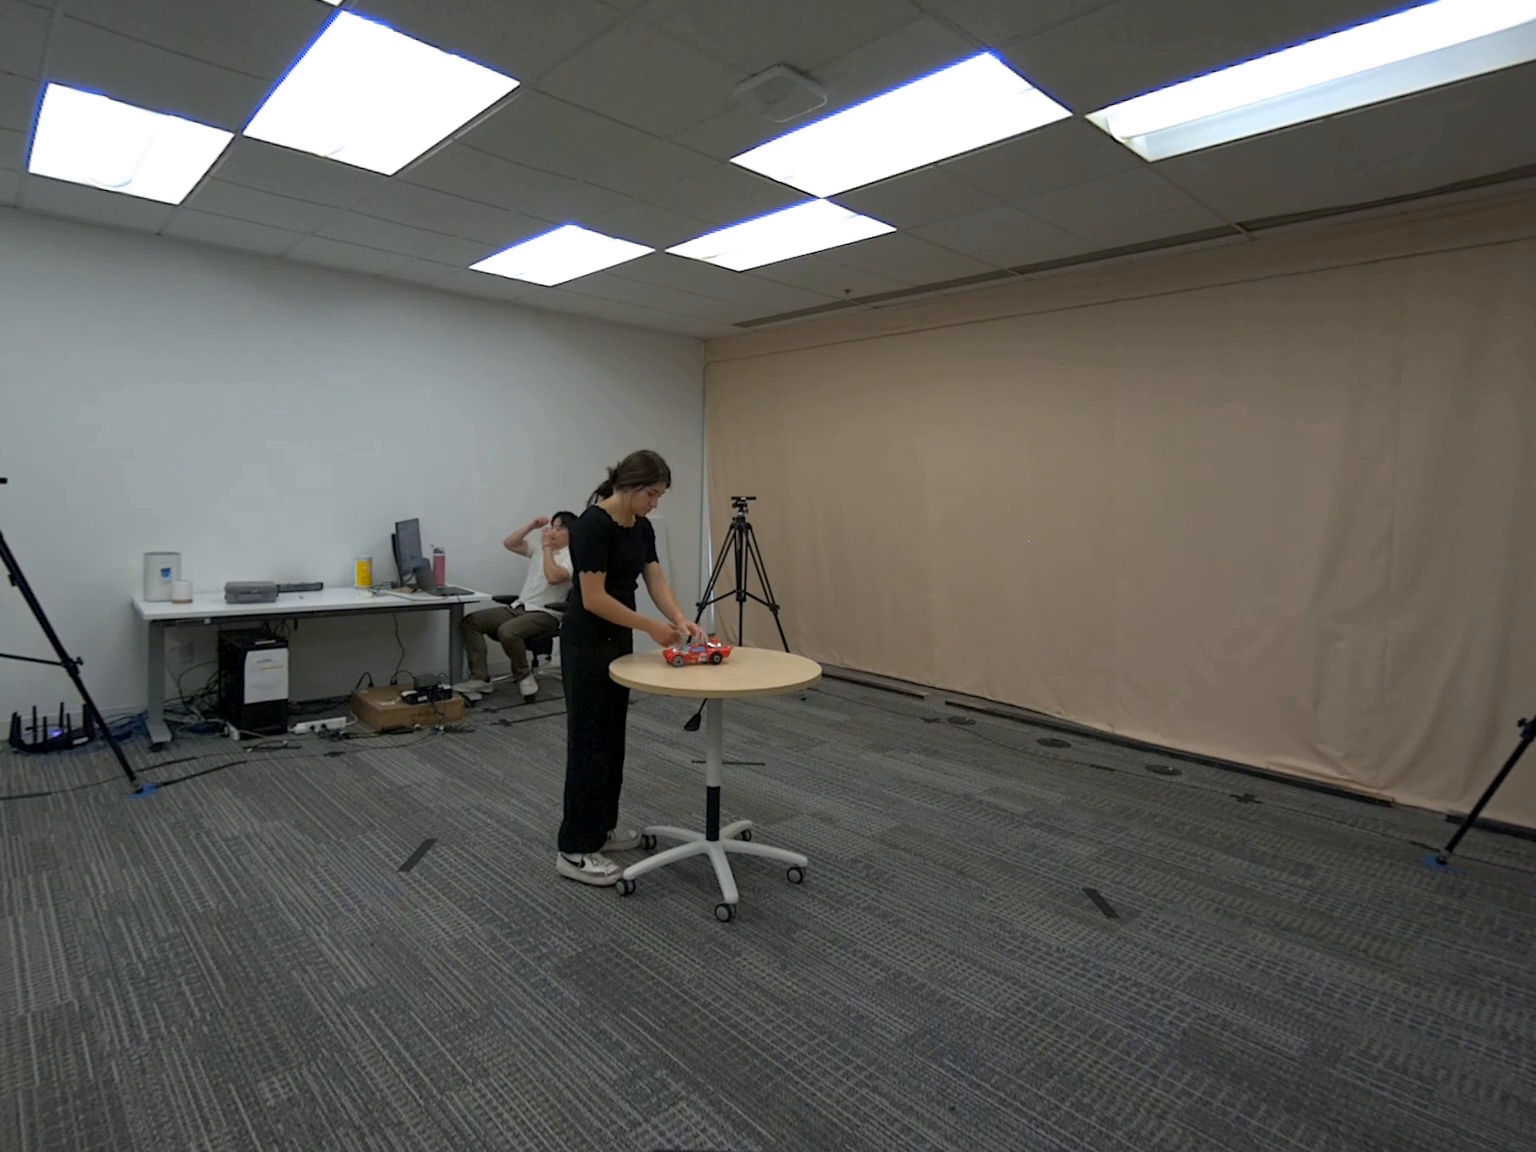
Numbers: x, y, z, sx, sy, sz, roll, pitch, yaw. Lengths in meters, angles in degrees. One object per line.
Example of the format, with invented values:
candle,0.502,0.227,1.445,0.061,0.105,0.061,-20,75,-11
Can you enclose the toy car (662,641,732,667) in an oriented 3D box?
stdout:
toy car,-0.261,0.288,3.085,0.252,0.082,0.133,-13,10,-19
